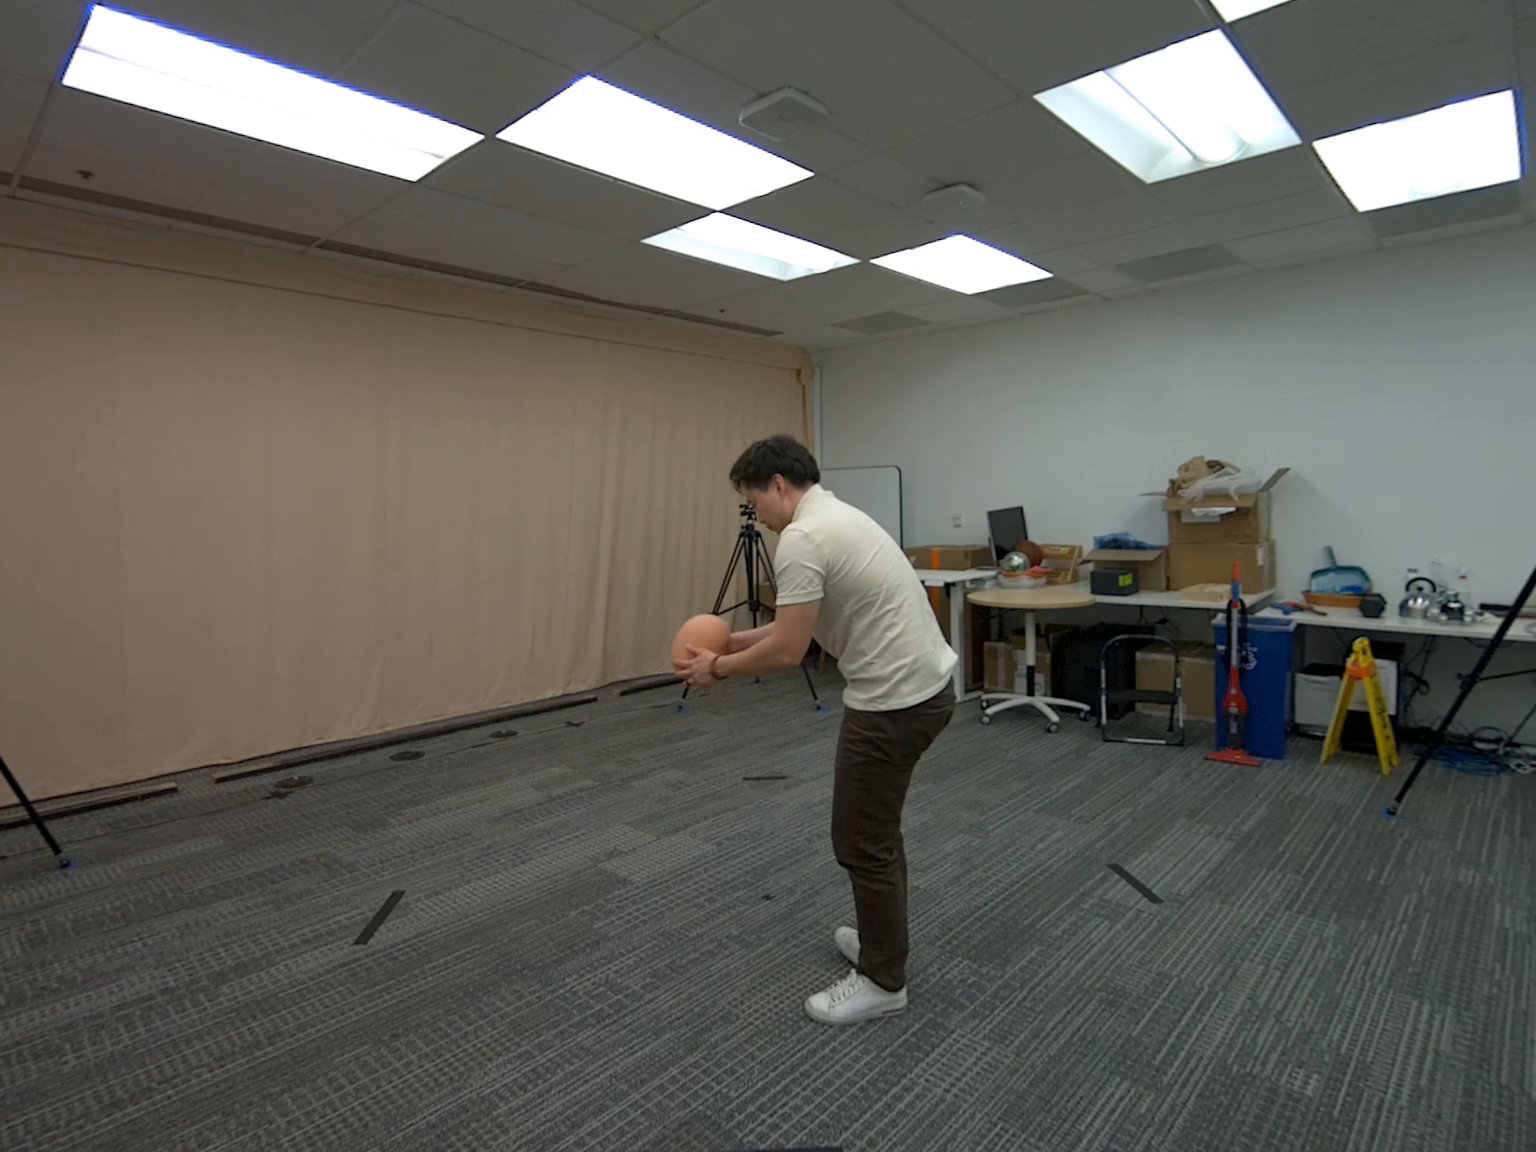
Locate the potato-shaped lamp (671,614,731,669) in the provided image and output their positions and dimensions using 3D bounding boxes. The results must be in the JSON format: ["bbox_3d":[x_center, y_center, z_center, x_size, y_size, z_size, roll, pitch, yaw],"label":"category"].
[{"bbox_3d":[-0.167,0.238,2.424,0.171,0.198,0.165,18,3,-3],"label":"potato-shaped lamp"}]
